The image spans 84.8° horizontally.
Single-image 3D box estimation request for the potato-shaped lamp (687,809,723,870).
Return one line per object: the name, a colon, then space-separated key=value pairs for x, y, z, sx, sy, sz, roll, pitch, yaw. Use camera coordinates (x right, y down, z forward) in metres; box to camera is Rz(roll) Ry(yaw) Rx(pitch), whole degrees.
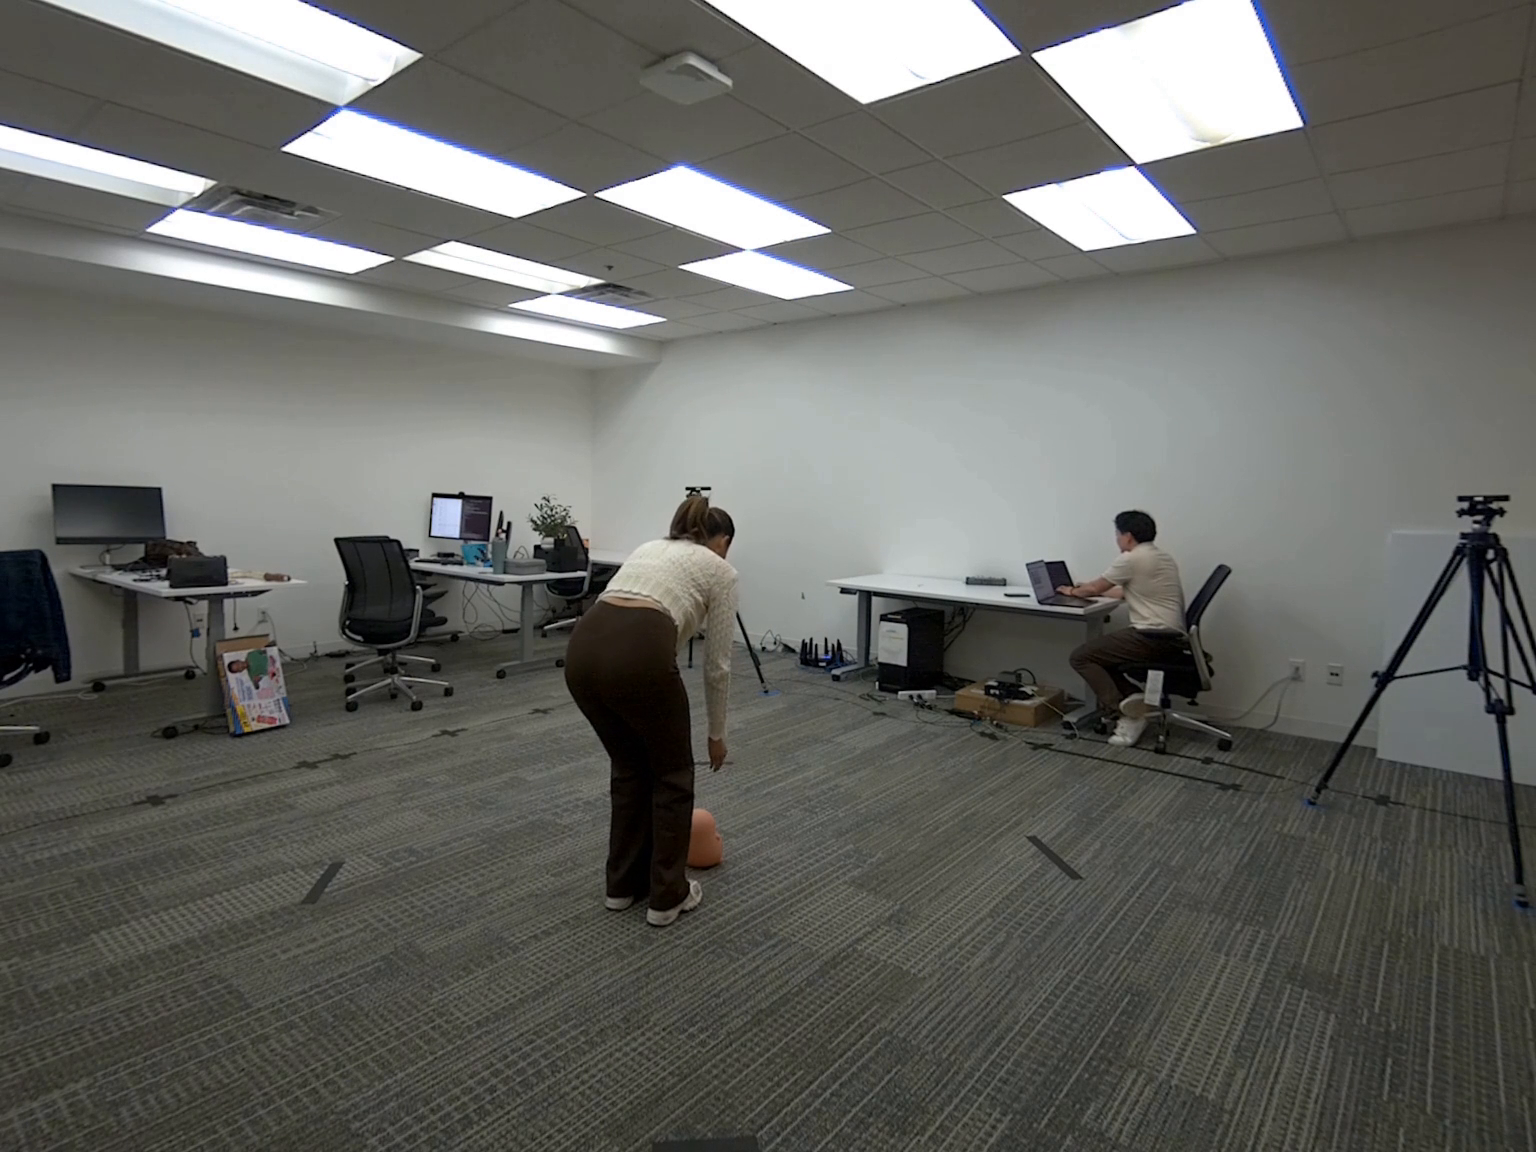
potato-shaped lamp: x=-0.265 y=0.959 z=3.153 sx=0.168 sy=0.198 sz=0.168 roll=-3 pitch=3 yaw=-22
